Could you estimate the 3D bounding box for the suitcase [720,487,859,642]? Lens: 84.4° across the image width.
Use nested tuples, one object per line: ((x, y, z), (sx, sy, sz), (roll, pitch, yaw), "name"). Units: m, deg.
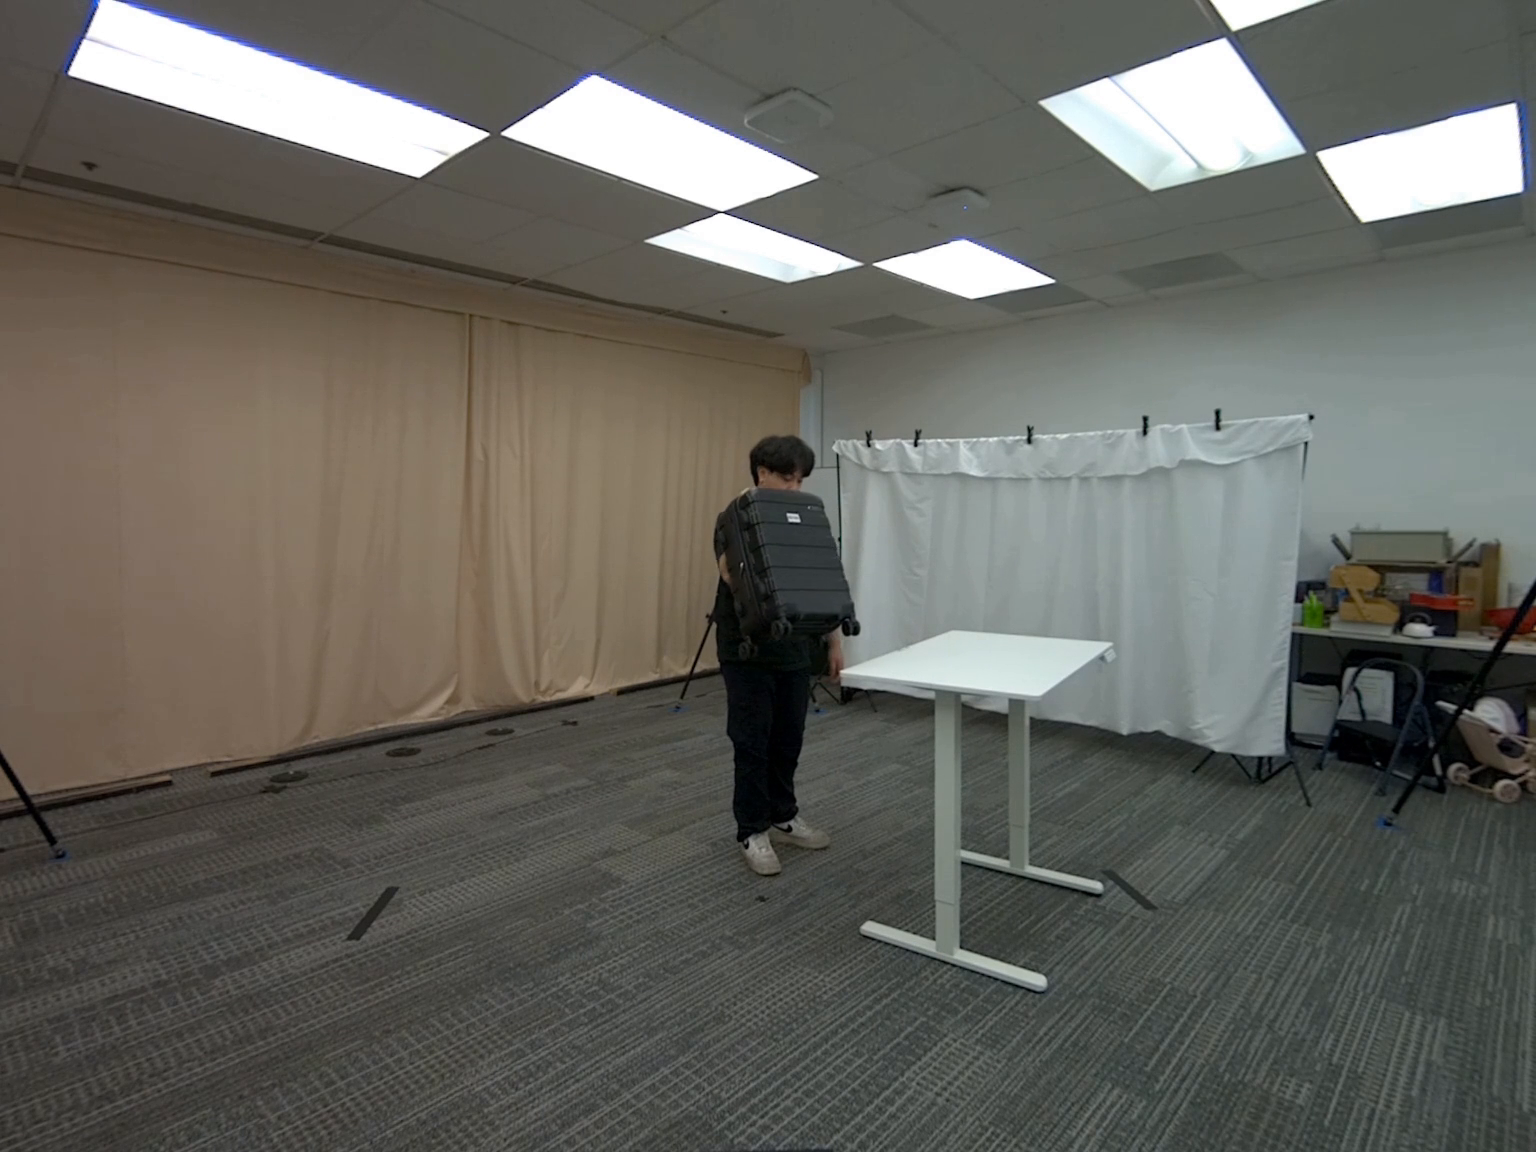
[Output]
((0.060, -0.021, 2.892), (0.364, 0.559, 0.251), (2, -26, -34), "suitcase")
